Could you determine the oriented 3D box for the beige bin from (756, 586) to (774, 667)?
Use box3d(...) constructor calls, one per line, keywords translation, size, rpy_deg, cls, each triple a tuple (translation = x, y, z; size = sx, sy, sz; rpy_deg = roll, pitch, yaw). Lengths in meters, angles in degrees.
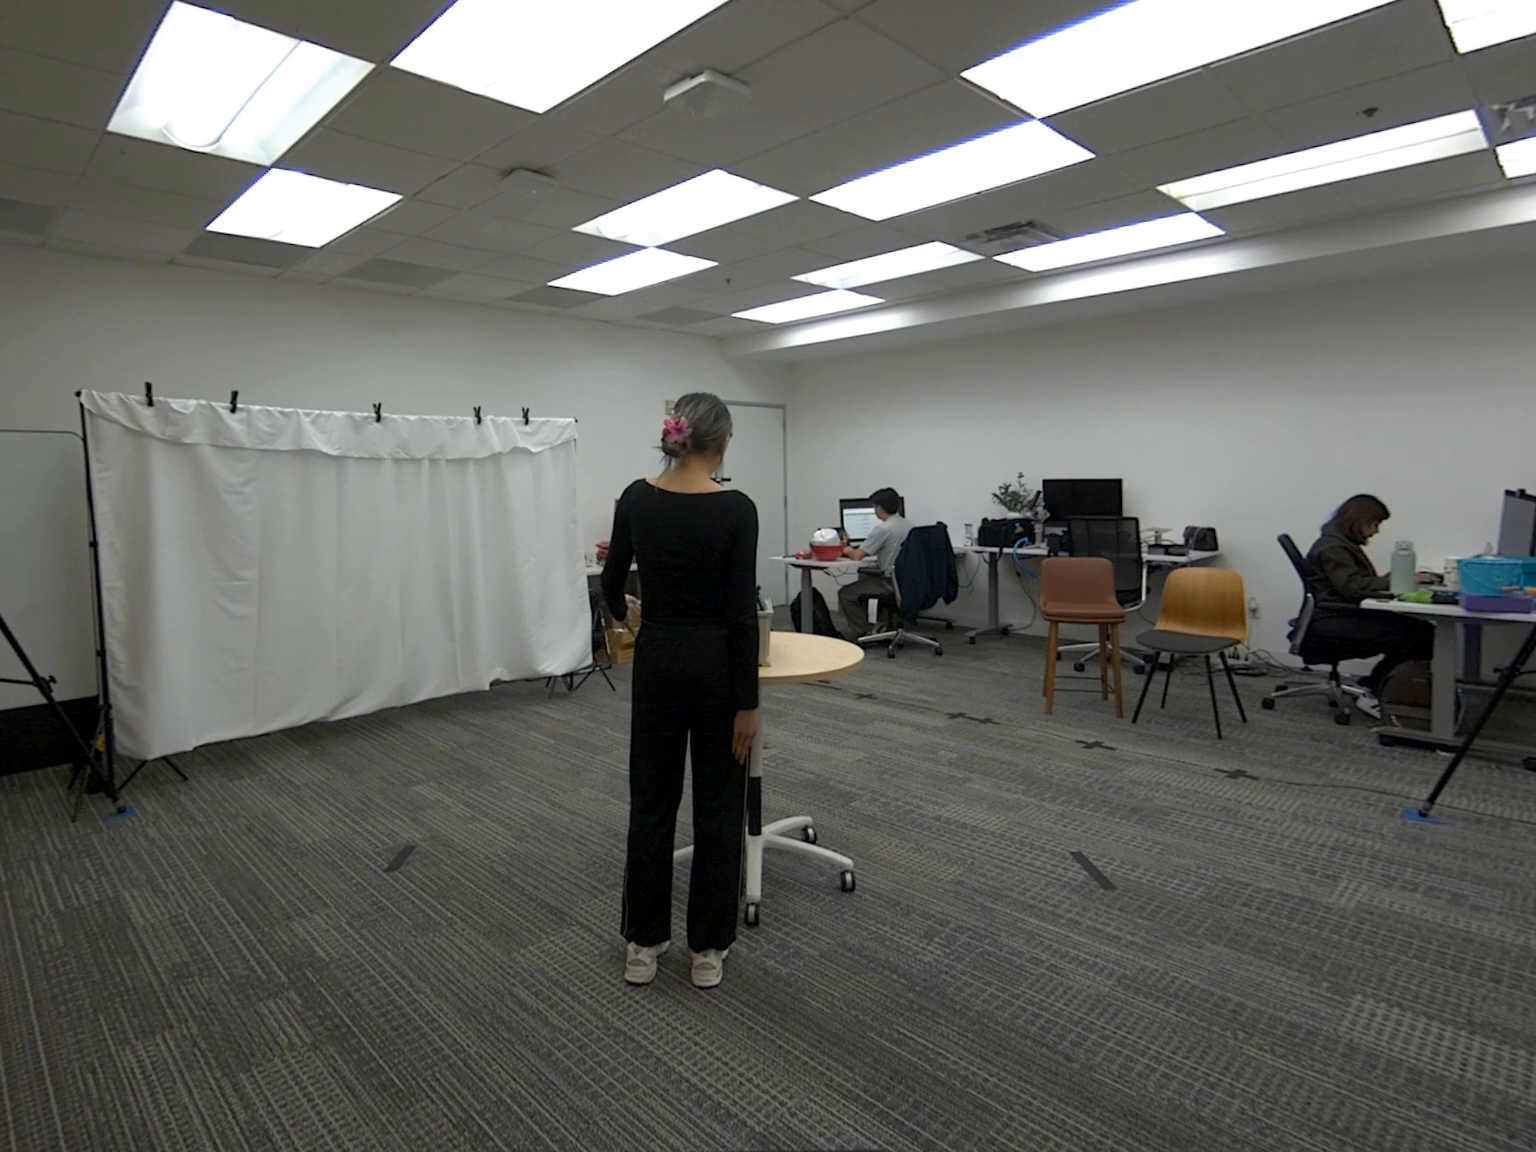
box3d(translation=(-0.198, 0.183, 2.918), size=(0.422, 0.188, 0.379), rpy_deg=(0, 7, -1), cls="beige bin")
